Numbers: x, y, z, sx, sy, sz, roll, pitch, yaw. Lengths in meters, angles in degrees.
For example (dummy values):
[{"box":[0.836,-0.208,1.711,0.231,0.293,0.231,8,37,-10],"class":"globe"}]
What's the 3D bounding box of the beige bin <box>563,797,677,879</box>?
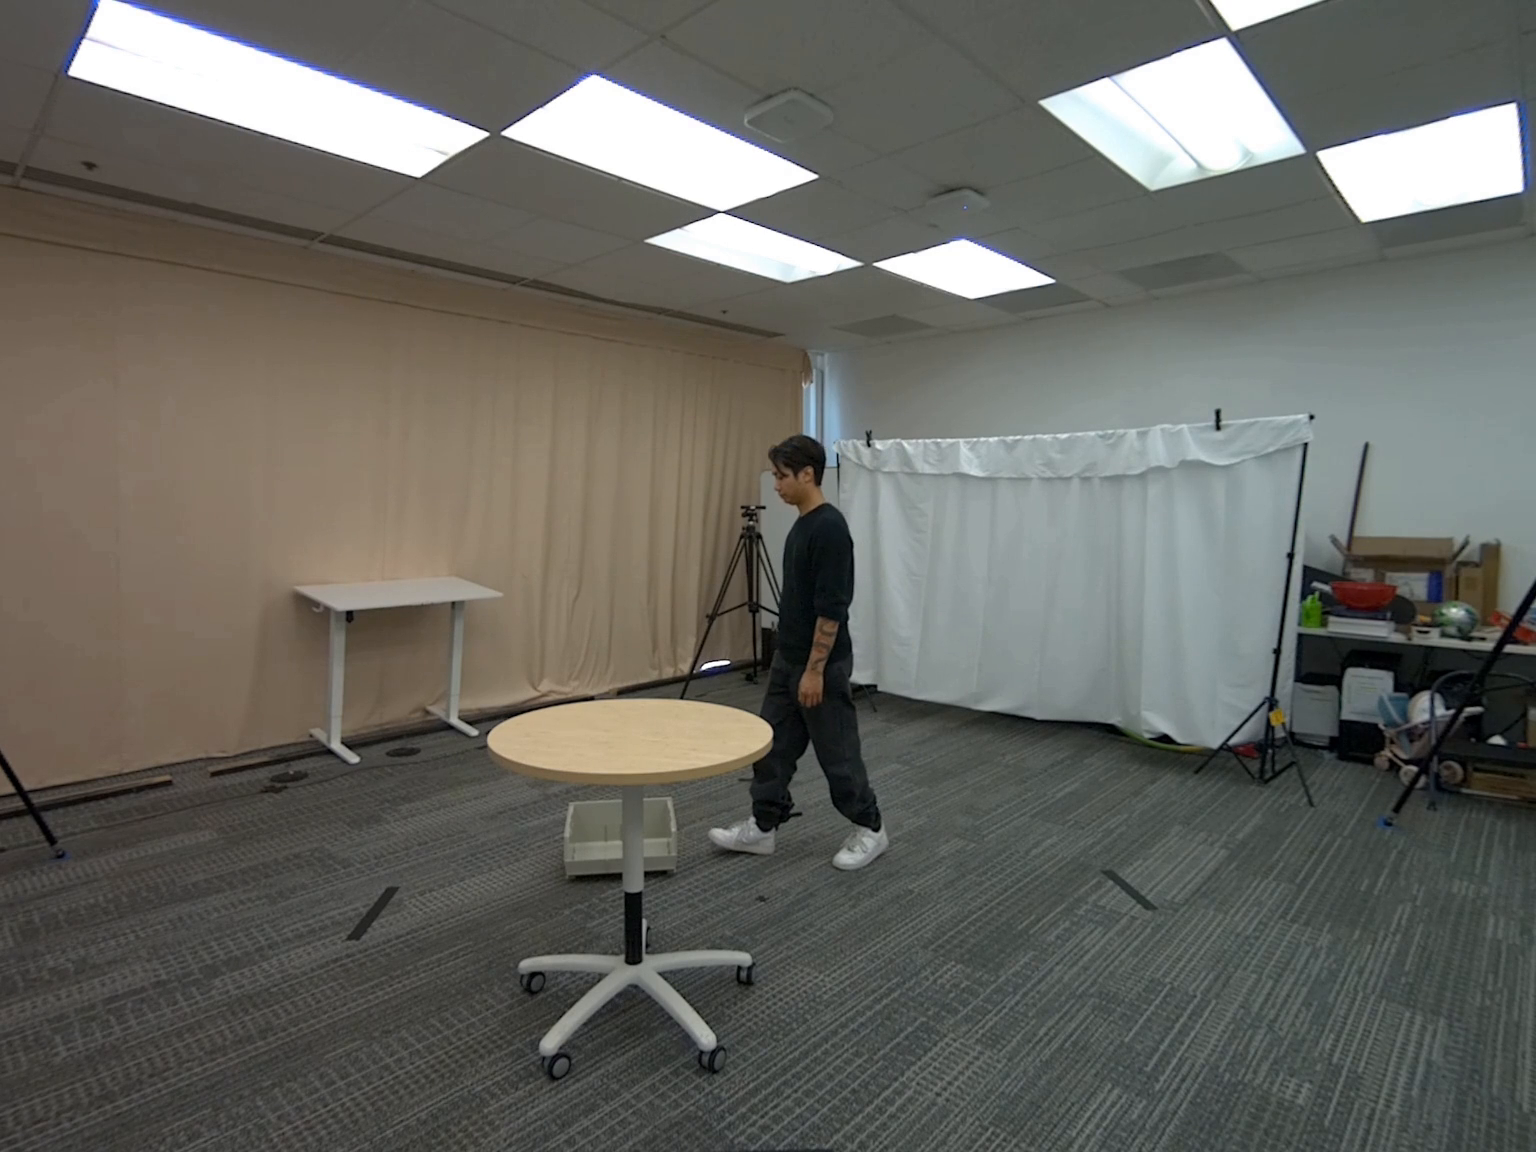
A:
[{"box":[-0.576,1.032,3.307,0.419,0.188,0.381,-2,4,-8],"class":"beige bin"}]
